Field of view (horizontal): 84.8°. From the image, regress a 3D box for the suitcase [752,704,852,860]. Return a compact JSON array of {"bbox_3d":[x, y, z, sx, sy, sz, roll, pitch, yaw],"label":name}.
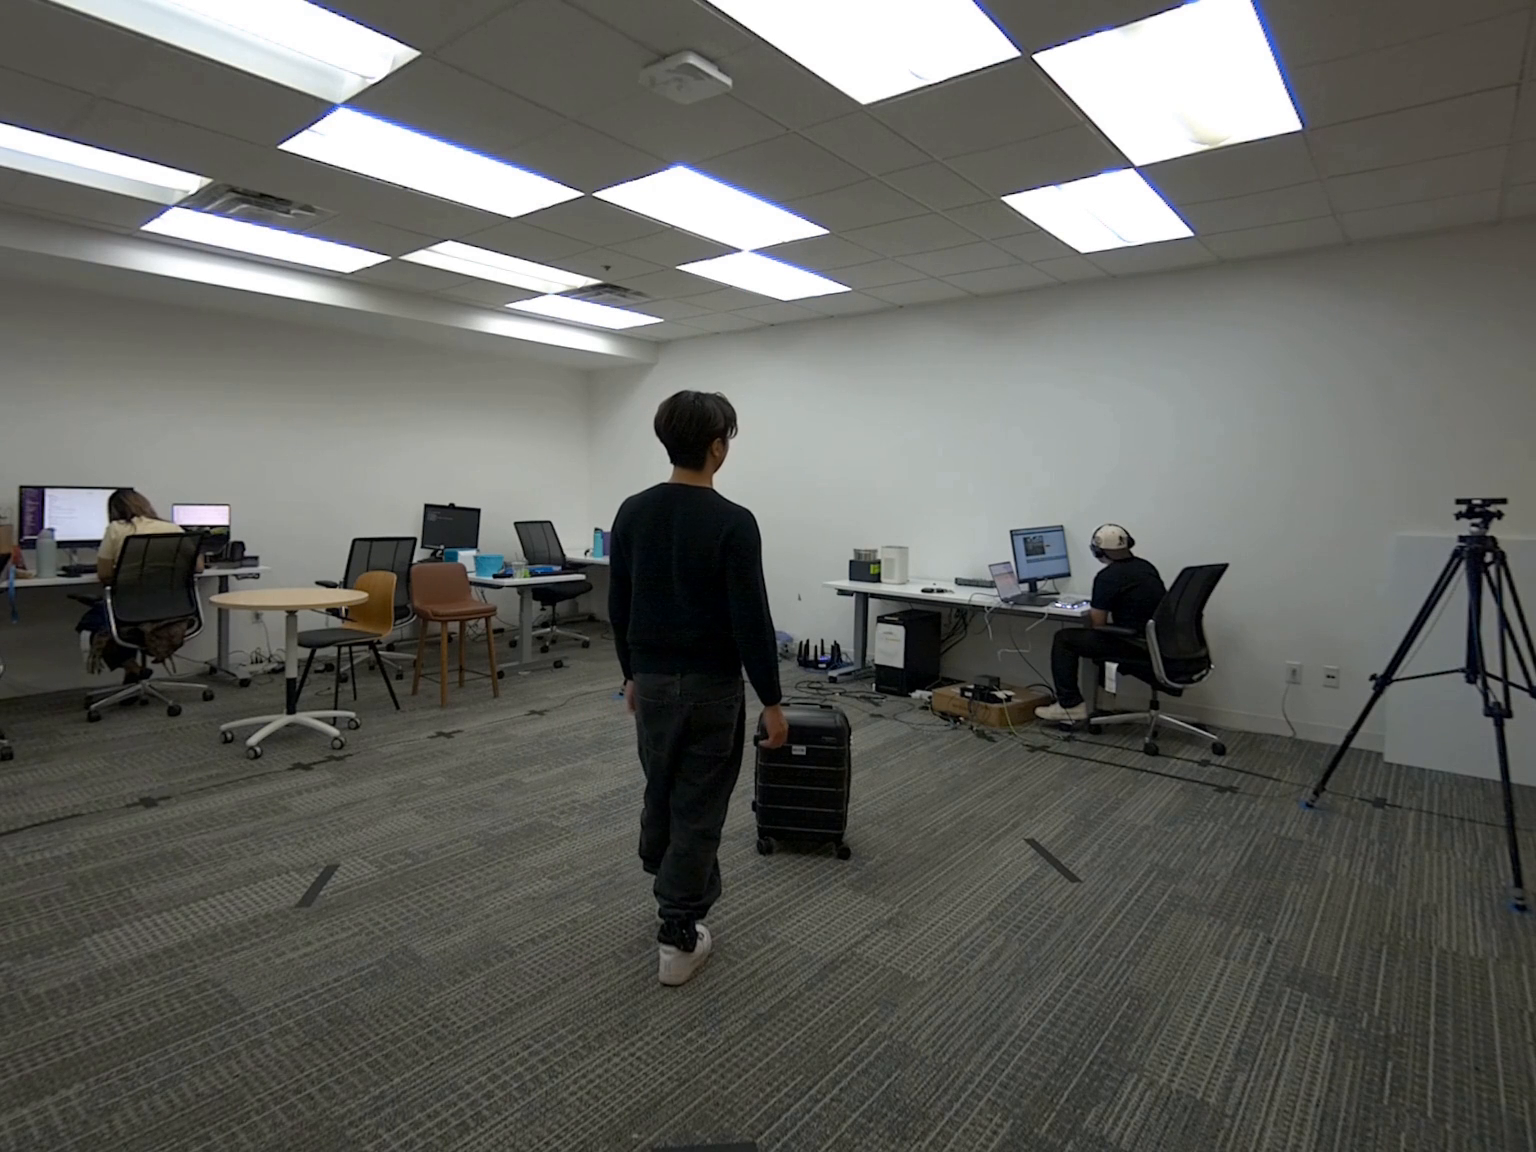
[{"bbox_3d":[0.130,0.775,3.343,0.378,0.547,0.247,3,4,6],"label":"suitcase"}]
